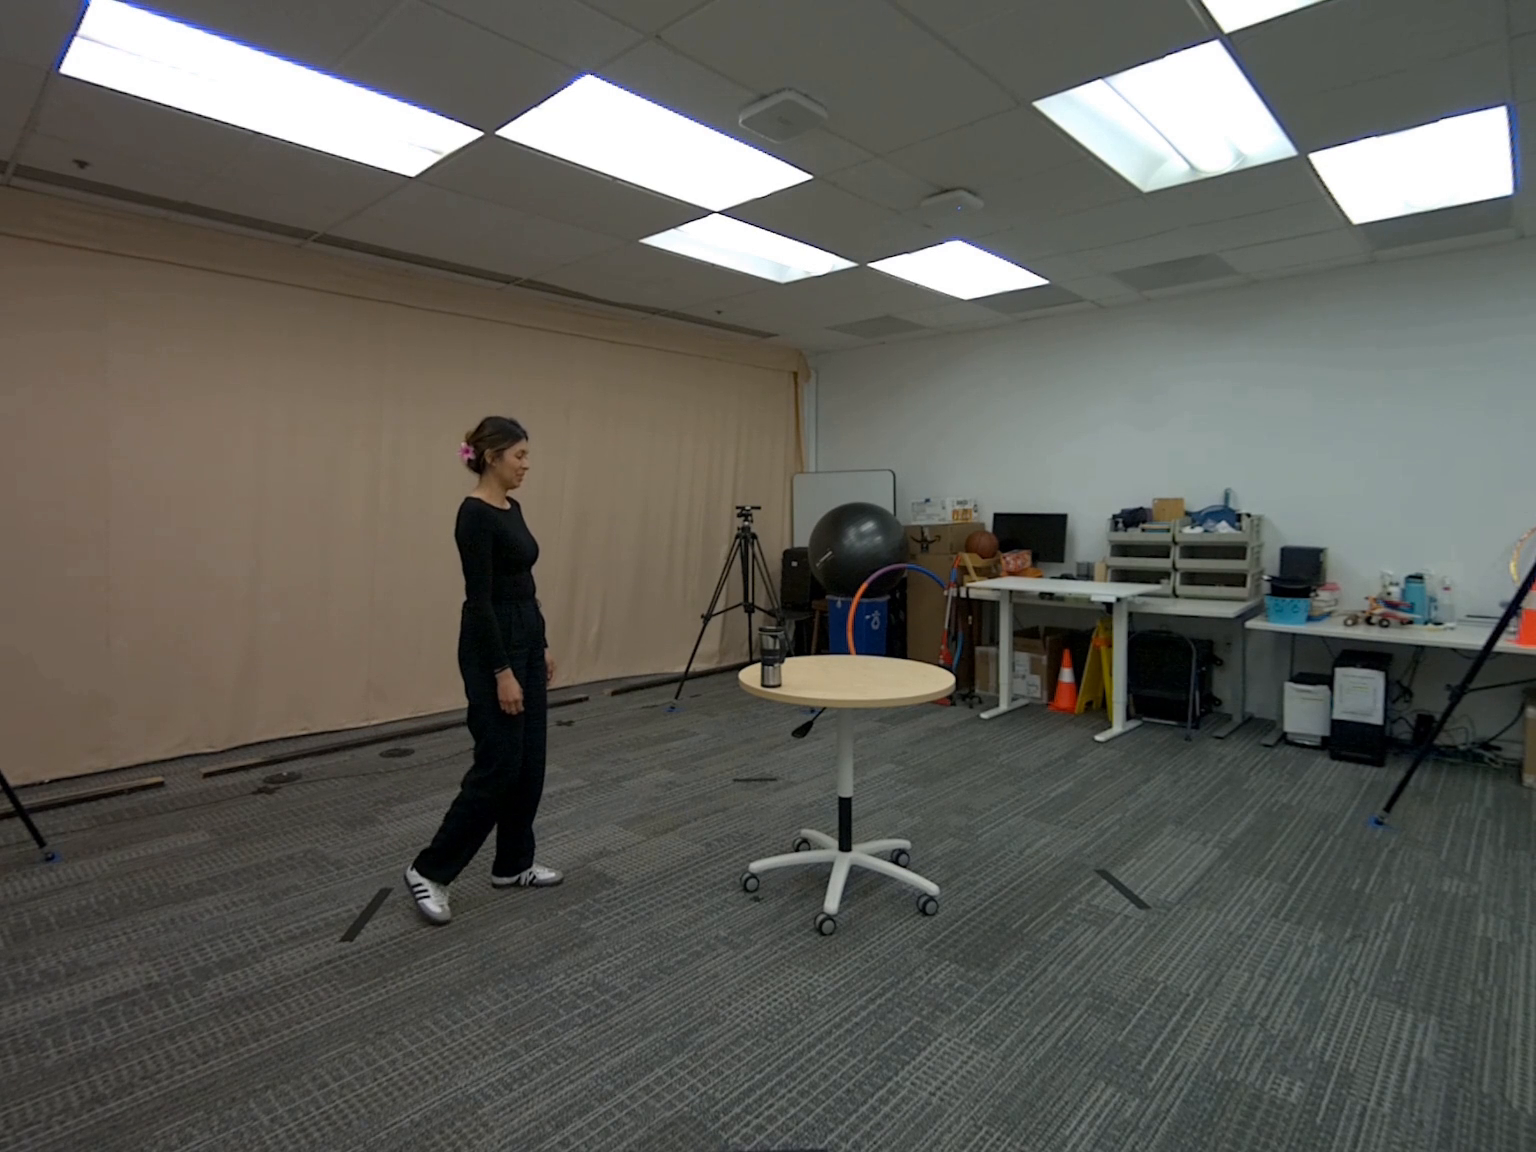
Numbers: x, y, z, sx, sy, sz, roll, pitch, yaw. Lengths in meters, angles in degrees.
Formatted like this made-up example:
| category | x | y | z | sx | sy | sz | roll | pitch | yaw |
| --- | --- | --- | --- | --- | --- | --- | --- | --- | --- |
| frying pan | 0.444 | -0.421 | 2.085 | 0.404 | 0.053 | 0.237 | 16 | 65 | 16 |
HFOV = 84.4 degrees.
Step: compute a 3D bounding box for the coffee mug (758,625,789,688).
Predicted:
| category | x | y | z | sx | sy | sz | roll | pitch | yaw |
| --- | --- | --- | --- | --- | --- | --- | --- | --- | --- |
| coffee mug | -0.004 | 0.278 | 2.829 | 0.091 | 0.203 | 0.118 | 3 | 0 | 43 |
